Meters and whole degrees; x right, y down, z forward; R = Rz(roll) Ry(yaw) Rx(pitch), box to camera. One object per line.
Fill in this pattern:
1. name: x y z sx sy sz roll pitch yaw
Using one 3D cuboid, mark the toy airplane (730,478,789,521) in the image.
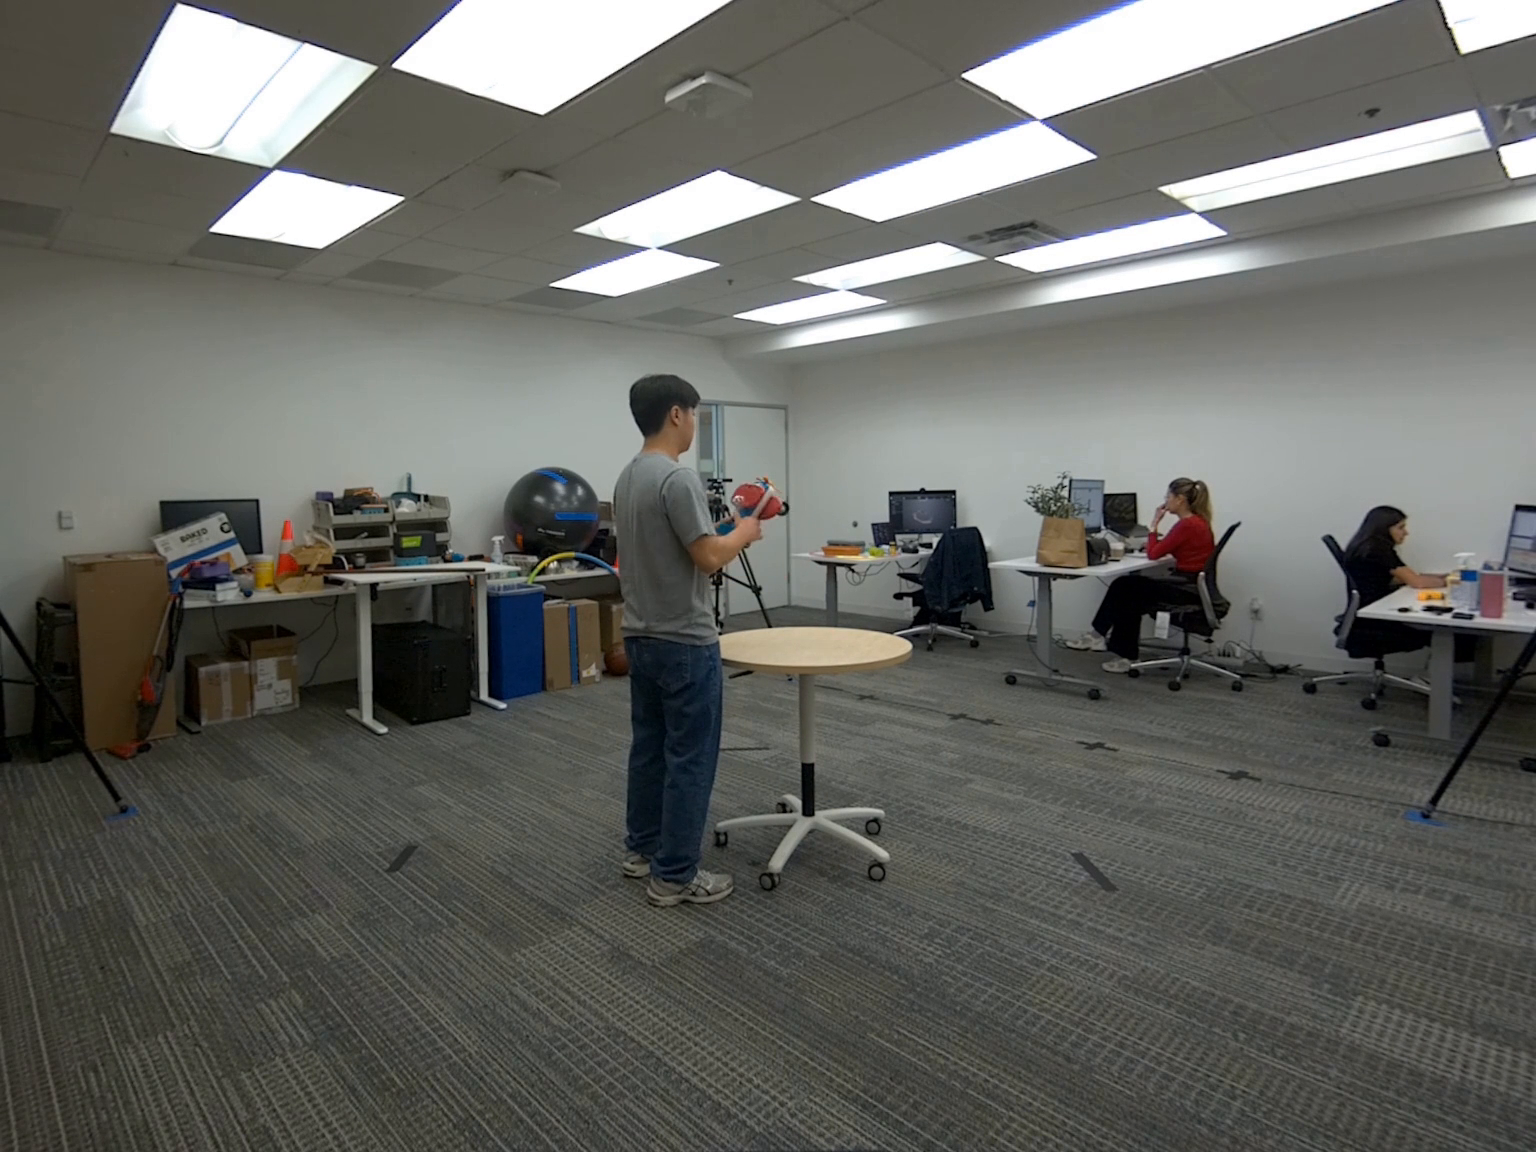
1. toy airplane: -0.047 -0.199 3.009 0.255 0.153 0.260 -19 27 48
